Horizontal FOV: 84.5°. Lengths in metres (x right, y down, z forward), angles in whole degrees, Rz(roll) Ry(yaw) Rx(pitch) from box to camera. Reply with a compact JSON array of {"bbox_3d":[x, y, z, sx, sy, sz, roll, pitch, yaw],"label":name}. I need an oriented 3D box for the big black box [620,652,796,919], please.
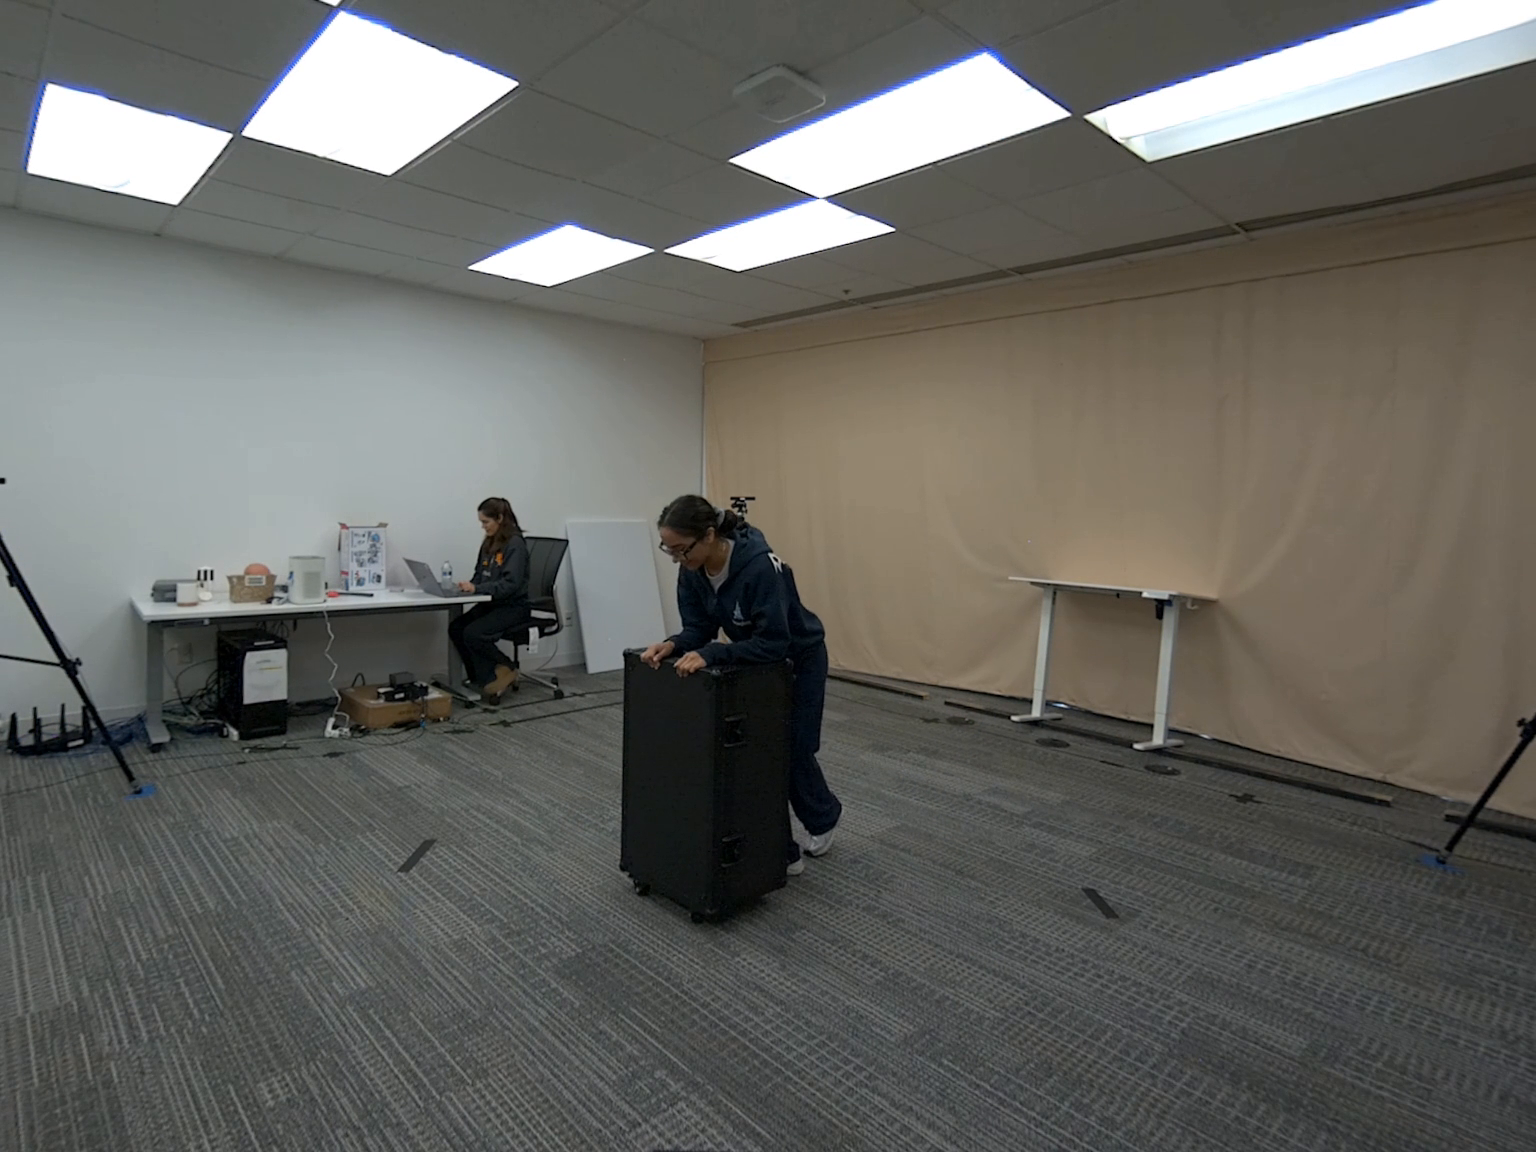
[{"bbox_3d":[-0.227,0.700,2.914,0.534,0.860,0.387,3,3,44],"label":"big black box"}]
